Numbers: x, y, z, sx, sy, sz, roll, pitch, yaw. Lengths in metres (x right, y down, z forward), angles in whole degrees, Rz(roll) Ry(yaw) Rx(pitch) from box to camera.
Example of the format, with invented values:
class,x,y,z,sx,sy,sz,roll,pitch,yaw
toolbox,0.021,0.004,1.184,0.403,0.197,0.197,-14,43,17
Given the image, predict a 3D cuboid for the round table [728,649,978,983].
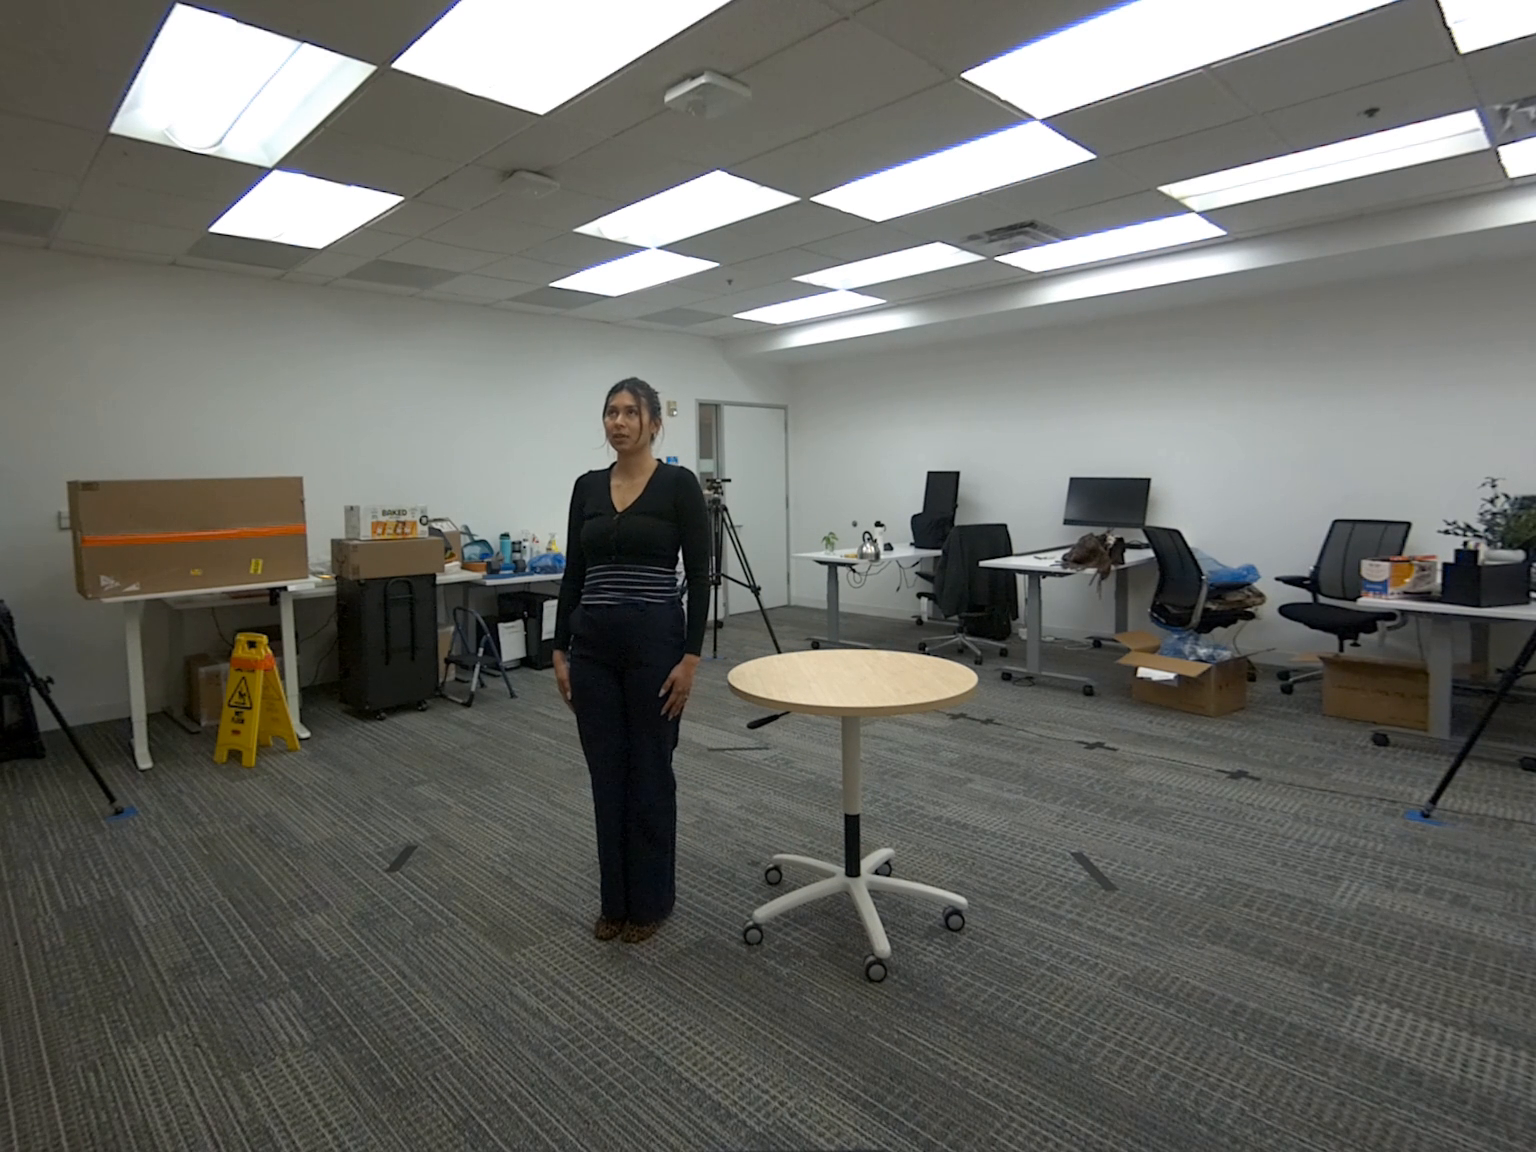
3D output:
class,x,y,z,sx,sy,sz,roll,pitch,yaw
round table,0.267,0.700,2.687,0.763,0.791,0.768,-1,5,-2
